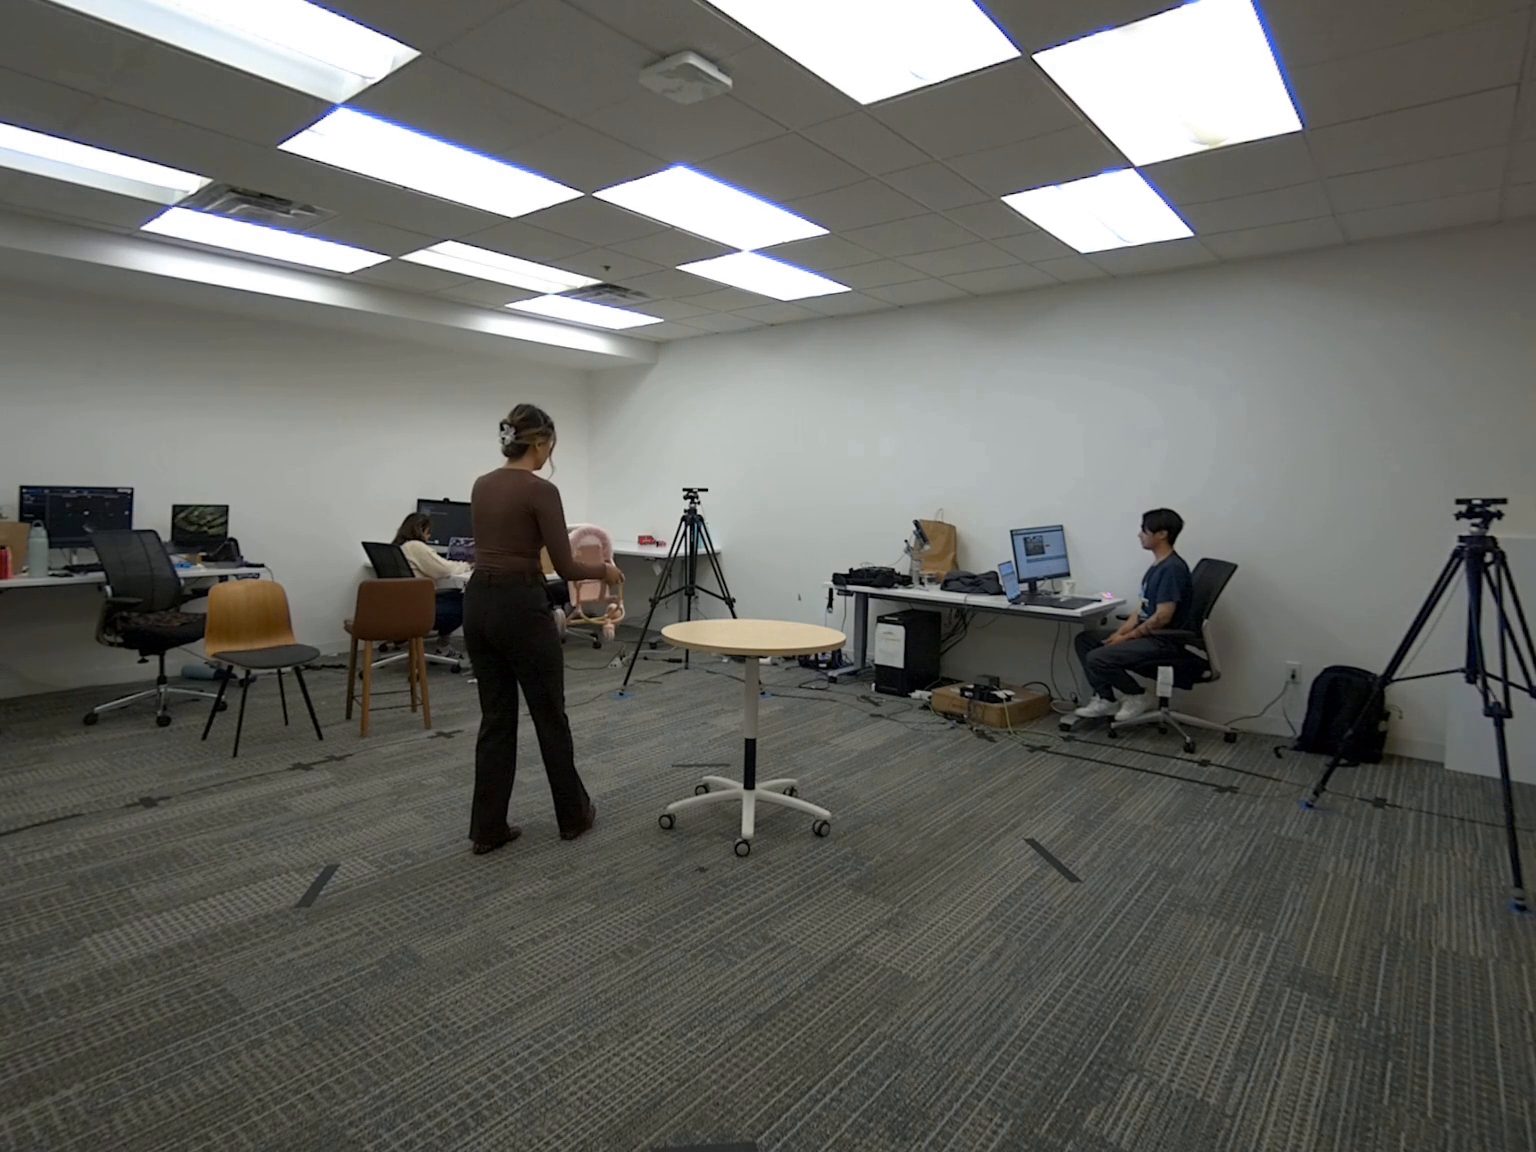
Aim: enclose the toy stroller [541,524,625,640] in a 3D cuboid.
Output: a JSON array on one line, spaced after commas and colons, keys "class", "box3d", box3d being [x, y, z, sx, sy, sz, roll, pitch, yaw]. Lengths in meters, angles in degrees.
[{"class": "toy stroller", "box3d": [-0.759, 0.020, 3.614, 0.275, 0.538, 0.348, -4, -5, -27]}]
